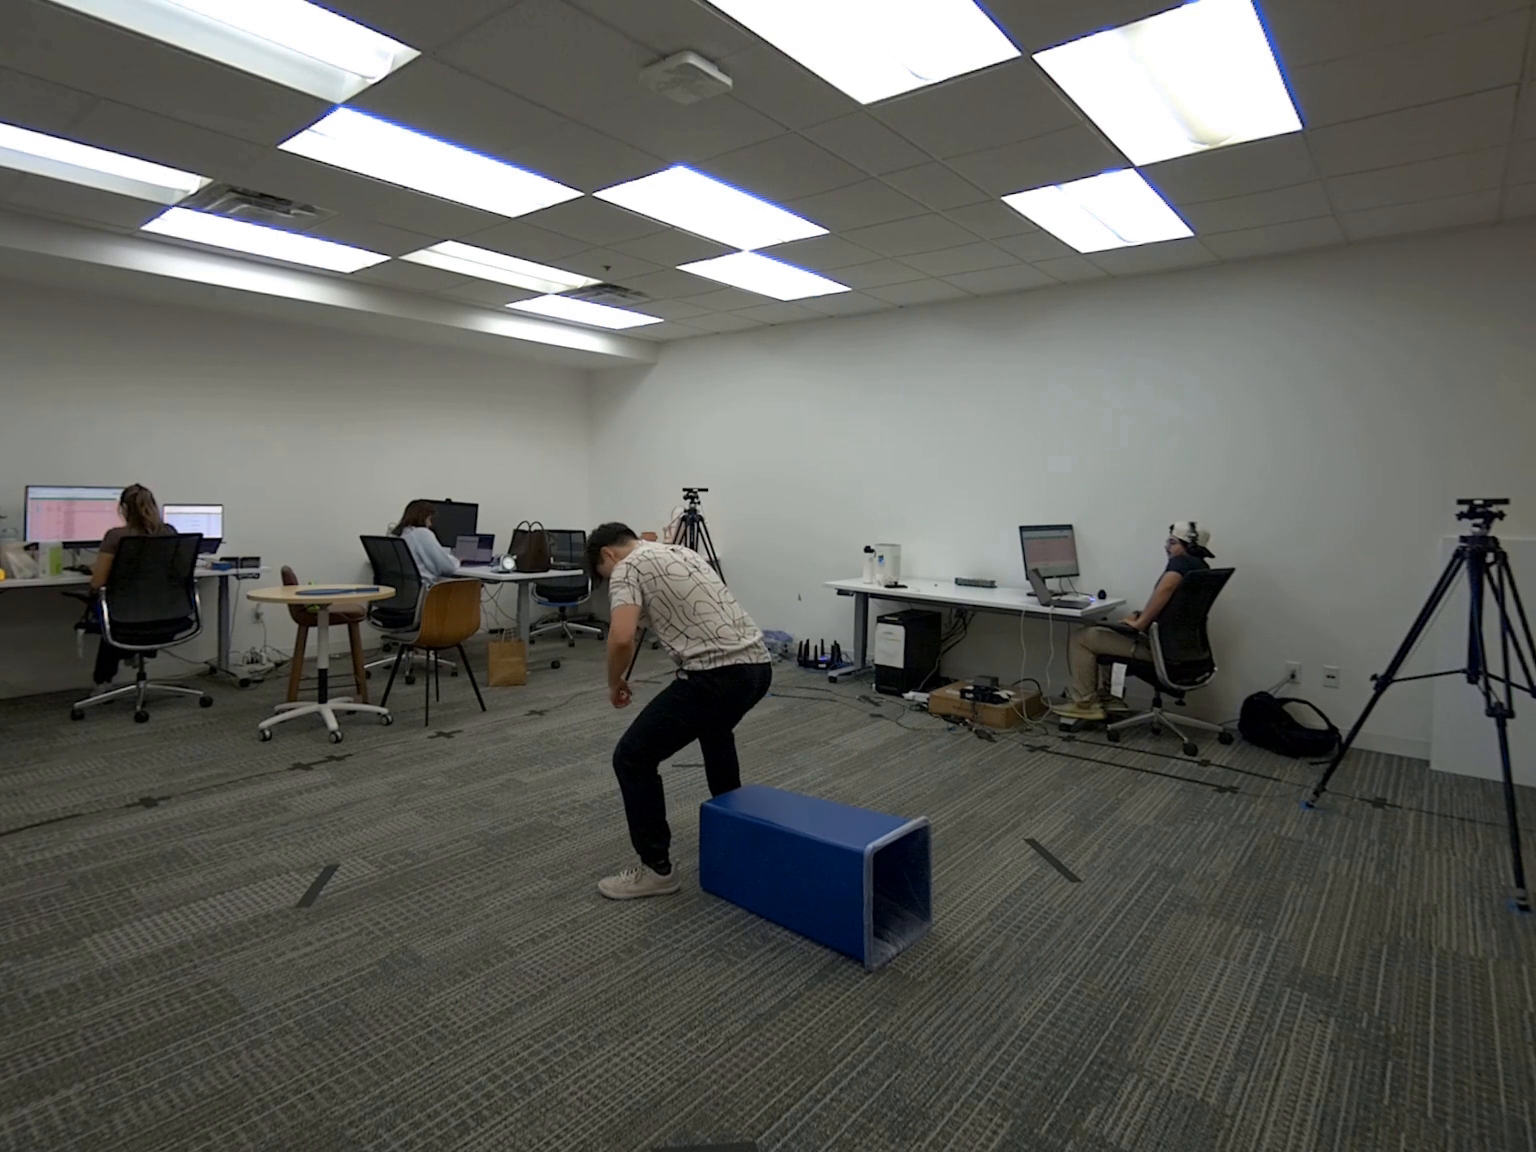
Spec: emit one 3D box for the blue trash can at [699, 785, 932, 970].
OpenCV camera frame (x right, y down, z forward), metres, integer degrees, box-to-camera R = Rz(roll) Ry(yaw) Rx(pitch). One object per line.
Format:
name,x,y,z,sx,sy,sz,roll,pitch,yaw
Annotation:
blue trash can,0.124,0.933,2.823,0.737,0.377,0.363,3,4,42
